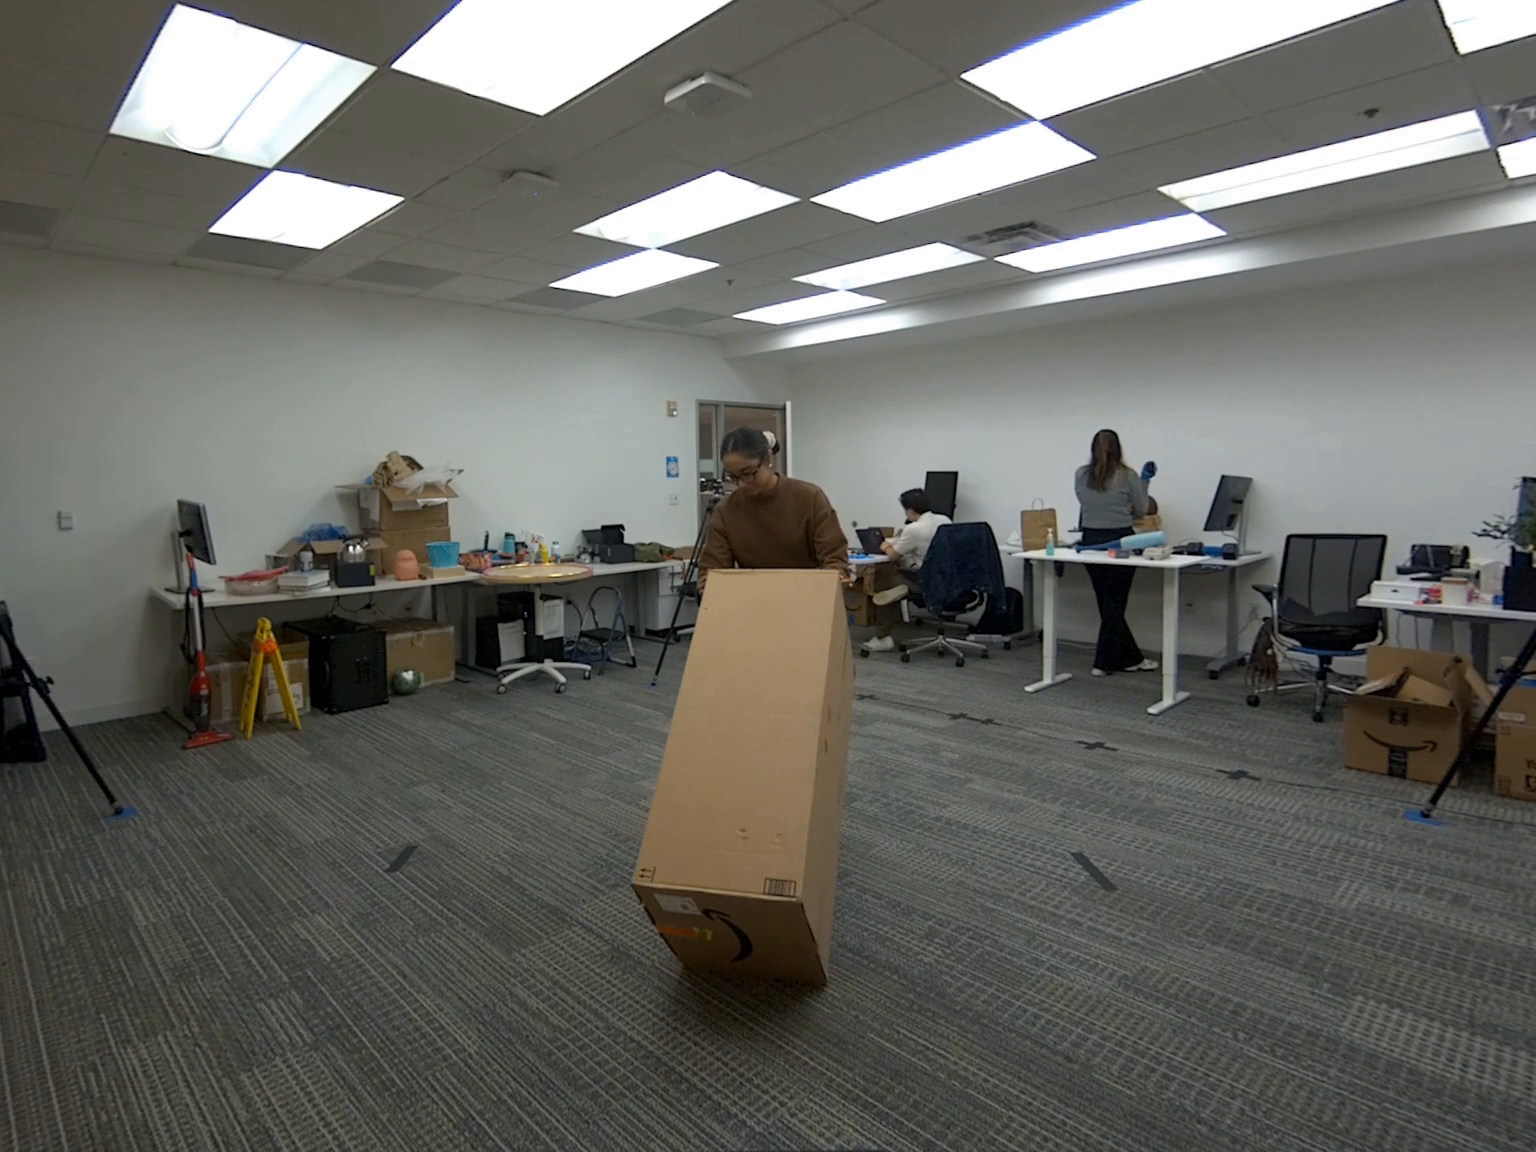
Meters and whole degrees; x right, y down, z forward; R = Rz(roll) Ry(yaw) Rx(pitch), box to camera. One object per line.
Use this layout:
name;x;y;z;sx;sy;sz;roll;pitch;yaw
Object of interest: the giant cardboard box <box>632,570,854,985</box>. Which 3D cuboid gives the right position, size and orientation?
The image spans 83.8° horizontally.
giant cardboard box;-0.016;0.558;2.550;0.432;0.558;1.046;-1;47;14
